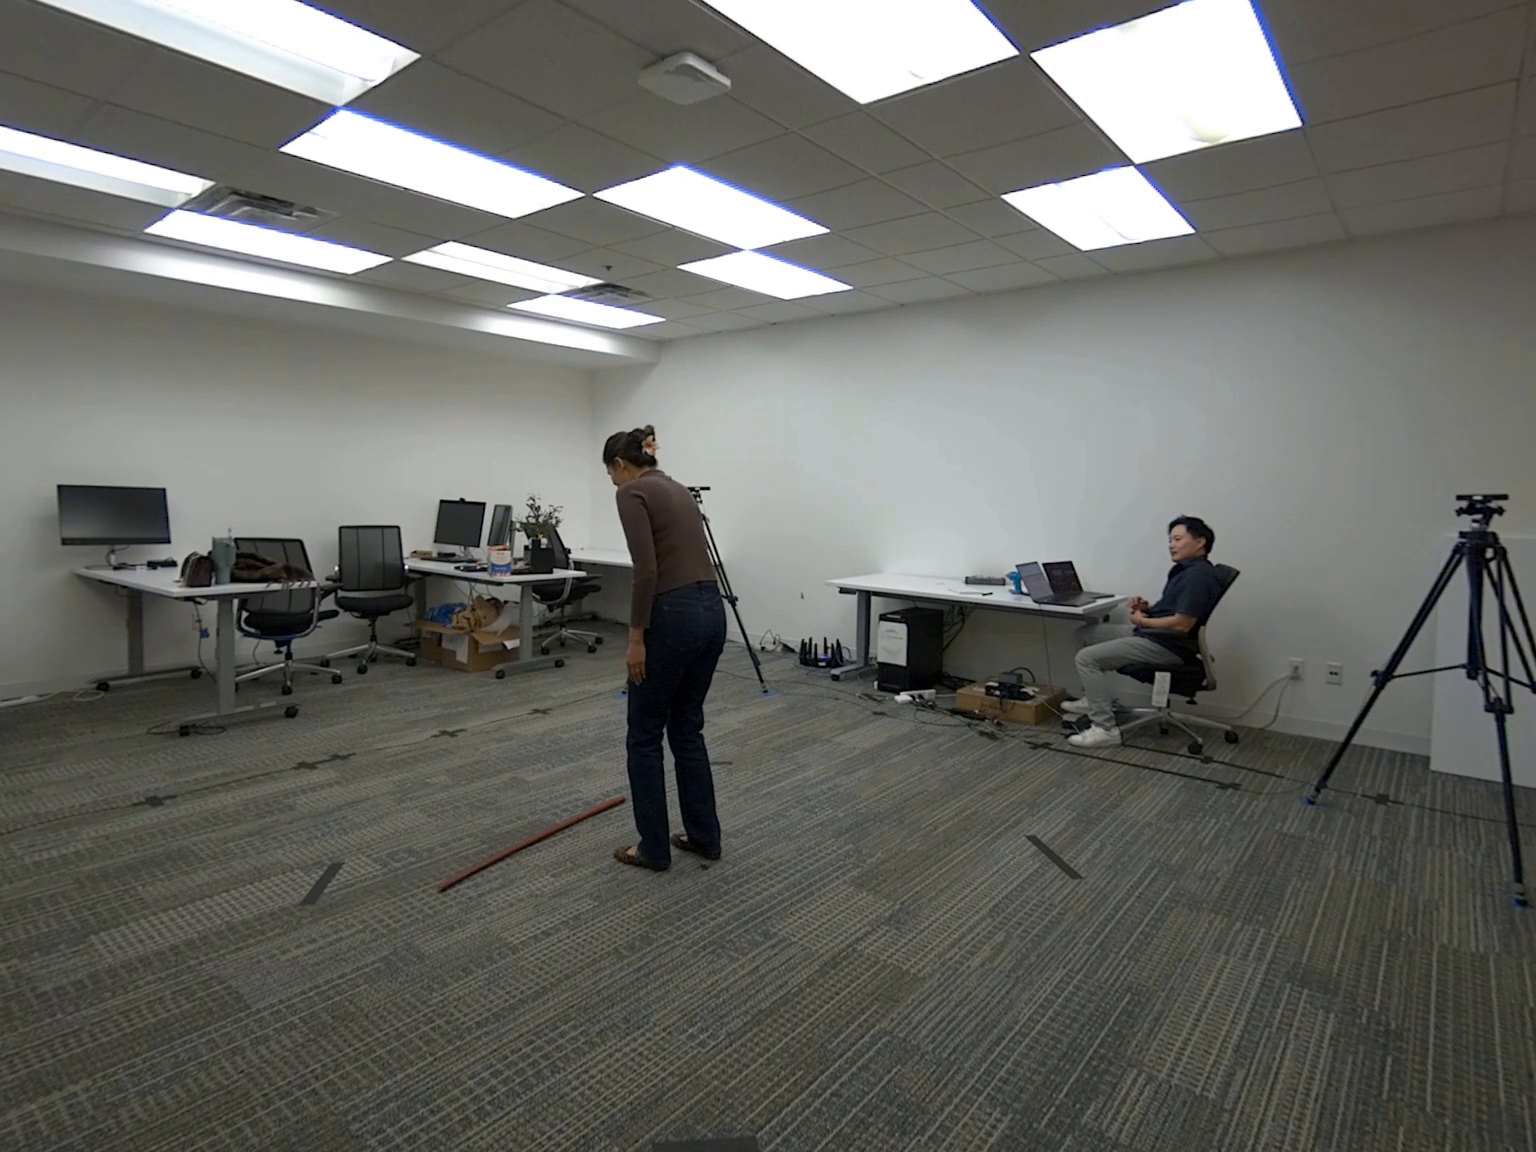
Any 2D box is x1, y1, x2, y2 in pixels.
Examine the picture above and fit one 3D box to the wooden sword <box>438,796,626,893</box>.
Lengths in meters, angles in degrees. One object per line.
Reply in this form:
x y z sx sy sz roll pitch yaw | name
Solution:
-0.886 1.011 3.339 0.053 0.024 1.000 -2 4 29 | wooden sword
